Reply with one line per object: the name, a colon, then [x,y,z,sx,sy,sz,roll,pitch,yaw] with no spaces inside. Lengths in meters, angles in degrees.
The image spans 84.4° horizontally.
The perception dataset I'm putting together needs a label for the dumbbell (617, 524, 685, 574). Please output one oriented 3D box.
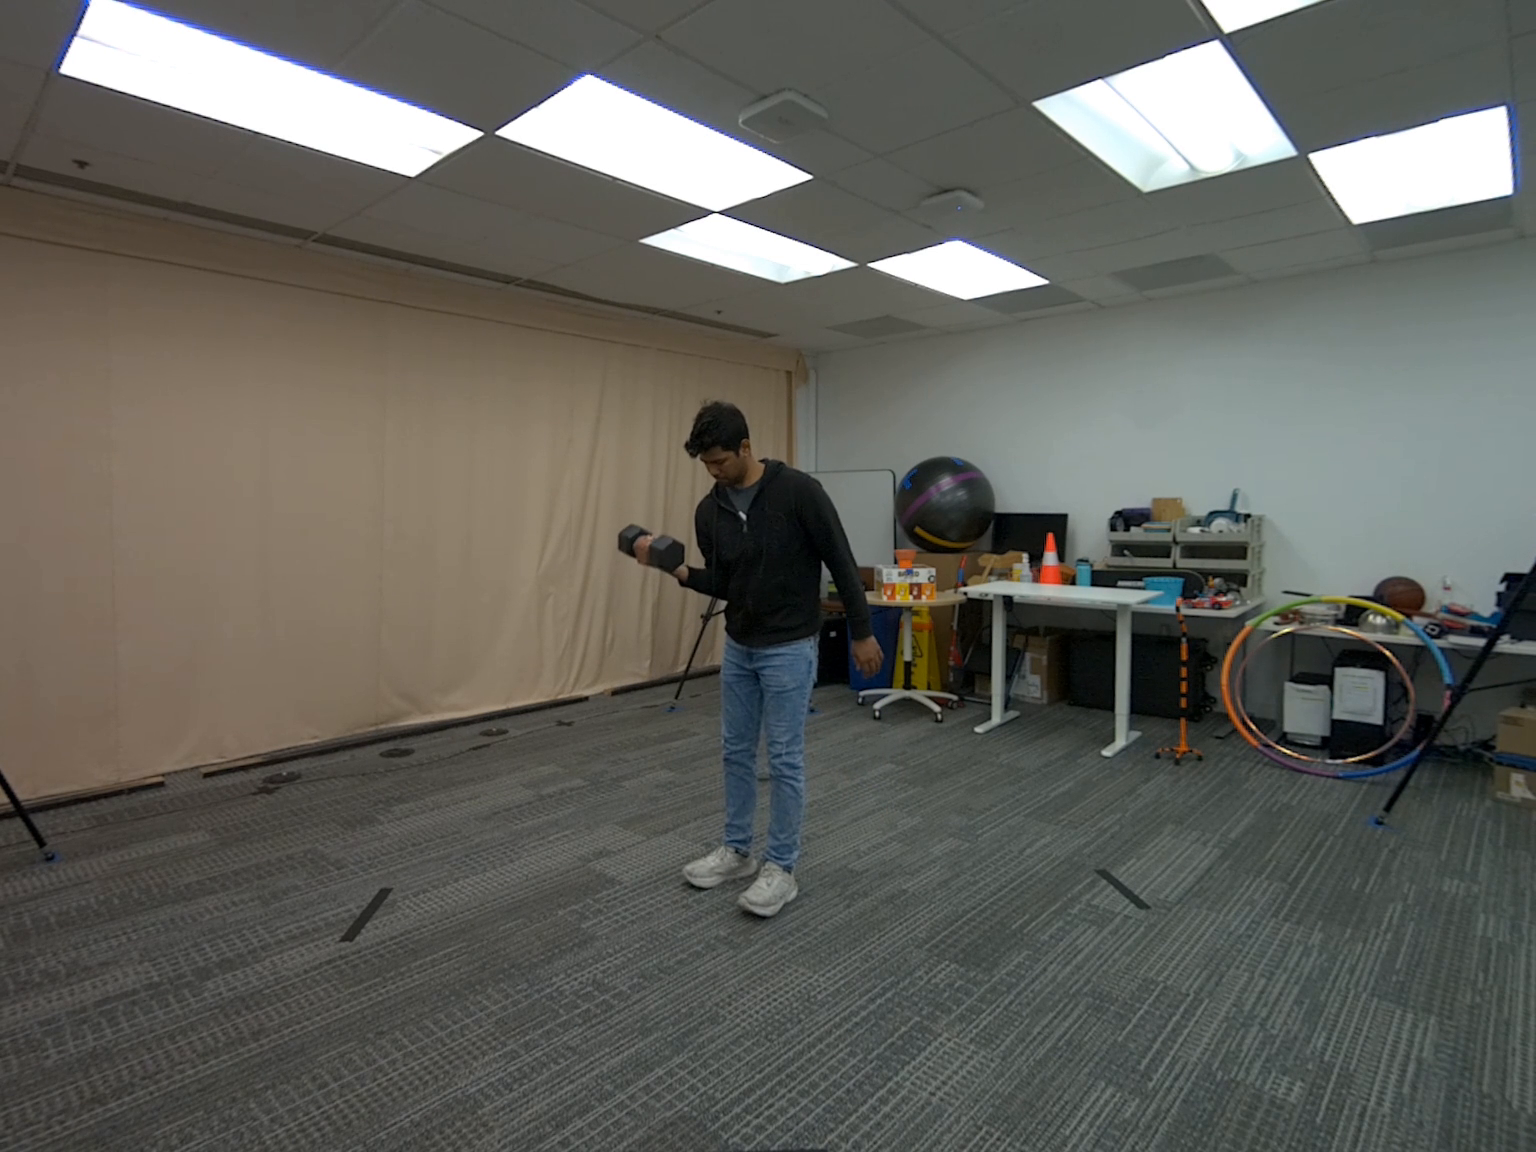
dumbbell: [-0.394,-0.084,2.916,0.118,0.109,0.304,32,-7,-39]
